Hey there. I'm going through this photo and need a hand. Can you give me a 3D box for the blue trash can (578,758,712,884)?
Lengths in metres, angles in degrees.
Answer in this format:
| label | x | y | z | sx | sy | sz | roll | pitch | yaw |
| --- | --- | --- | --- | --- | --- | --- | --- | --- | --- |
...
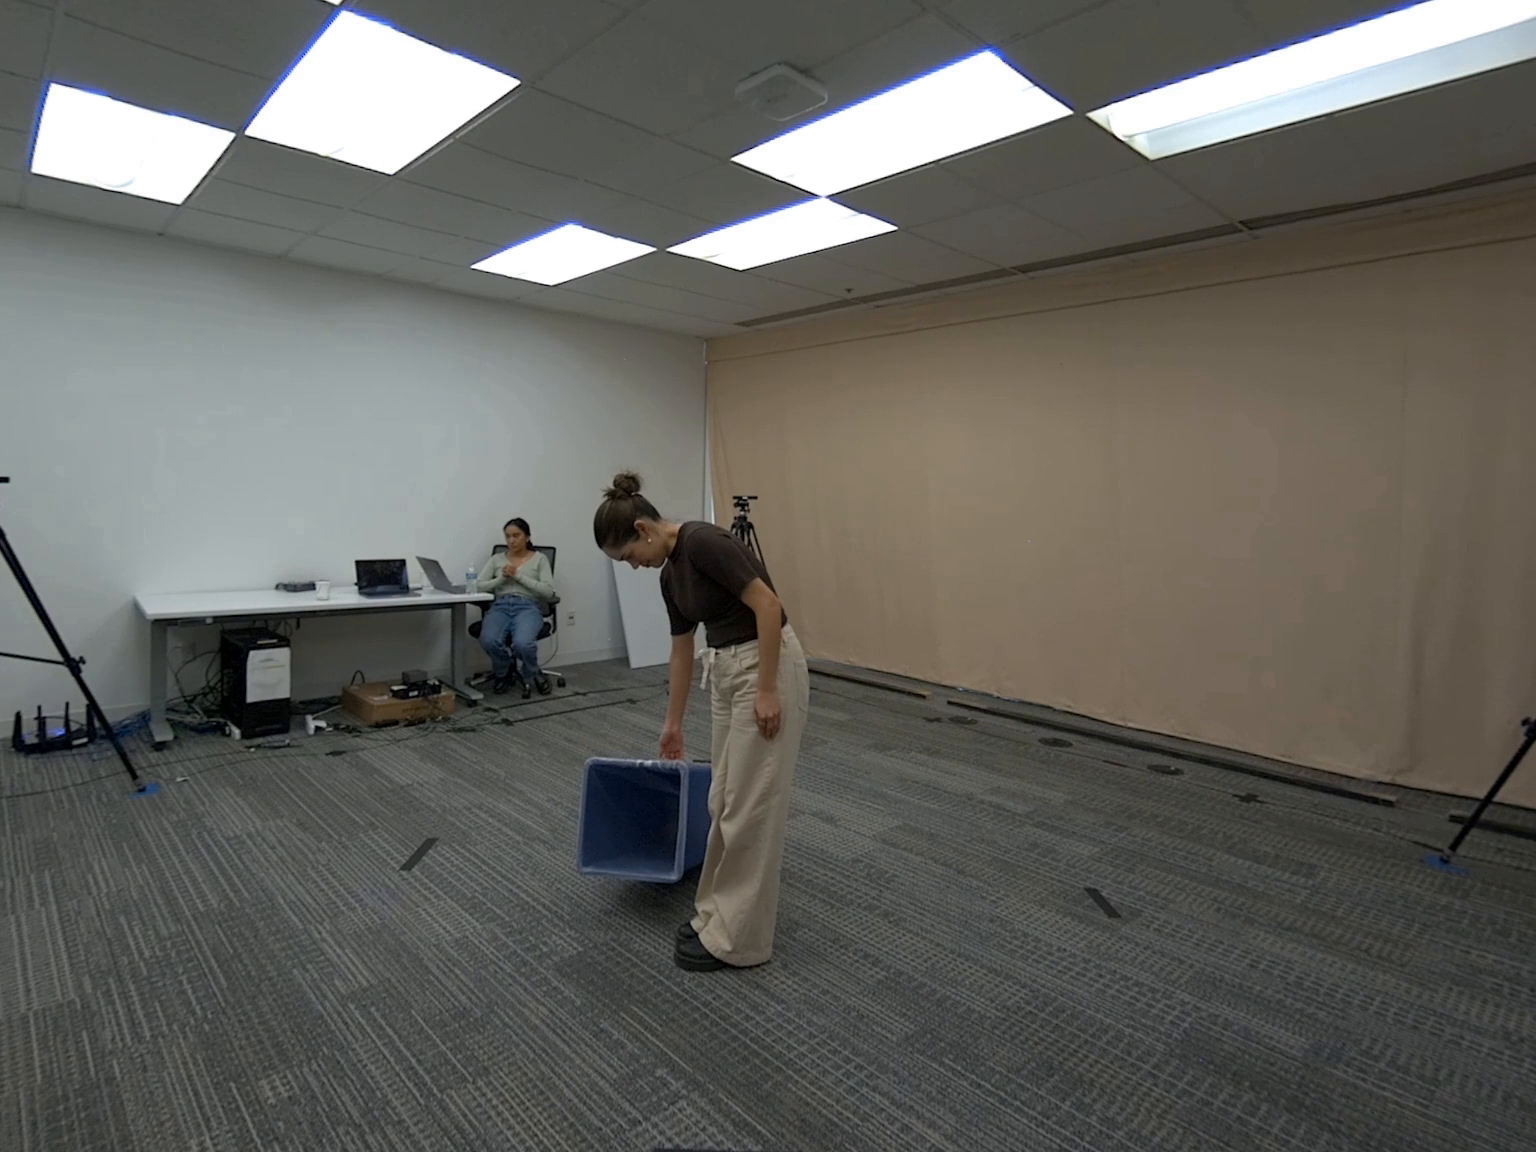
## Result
| label | x | y | z | sx | sy | sz | roll | pitch | yaw |
| --- | --- | --- | --- | --- | --- | --- | --- | --- | --- |
| blue trash can | -0.357 | 0.857 | 3.050 | 0.383 | 0.377 | 0.698 | -1 | -13 | 16 |
